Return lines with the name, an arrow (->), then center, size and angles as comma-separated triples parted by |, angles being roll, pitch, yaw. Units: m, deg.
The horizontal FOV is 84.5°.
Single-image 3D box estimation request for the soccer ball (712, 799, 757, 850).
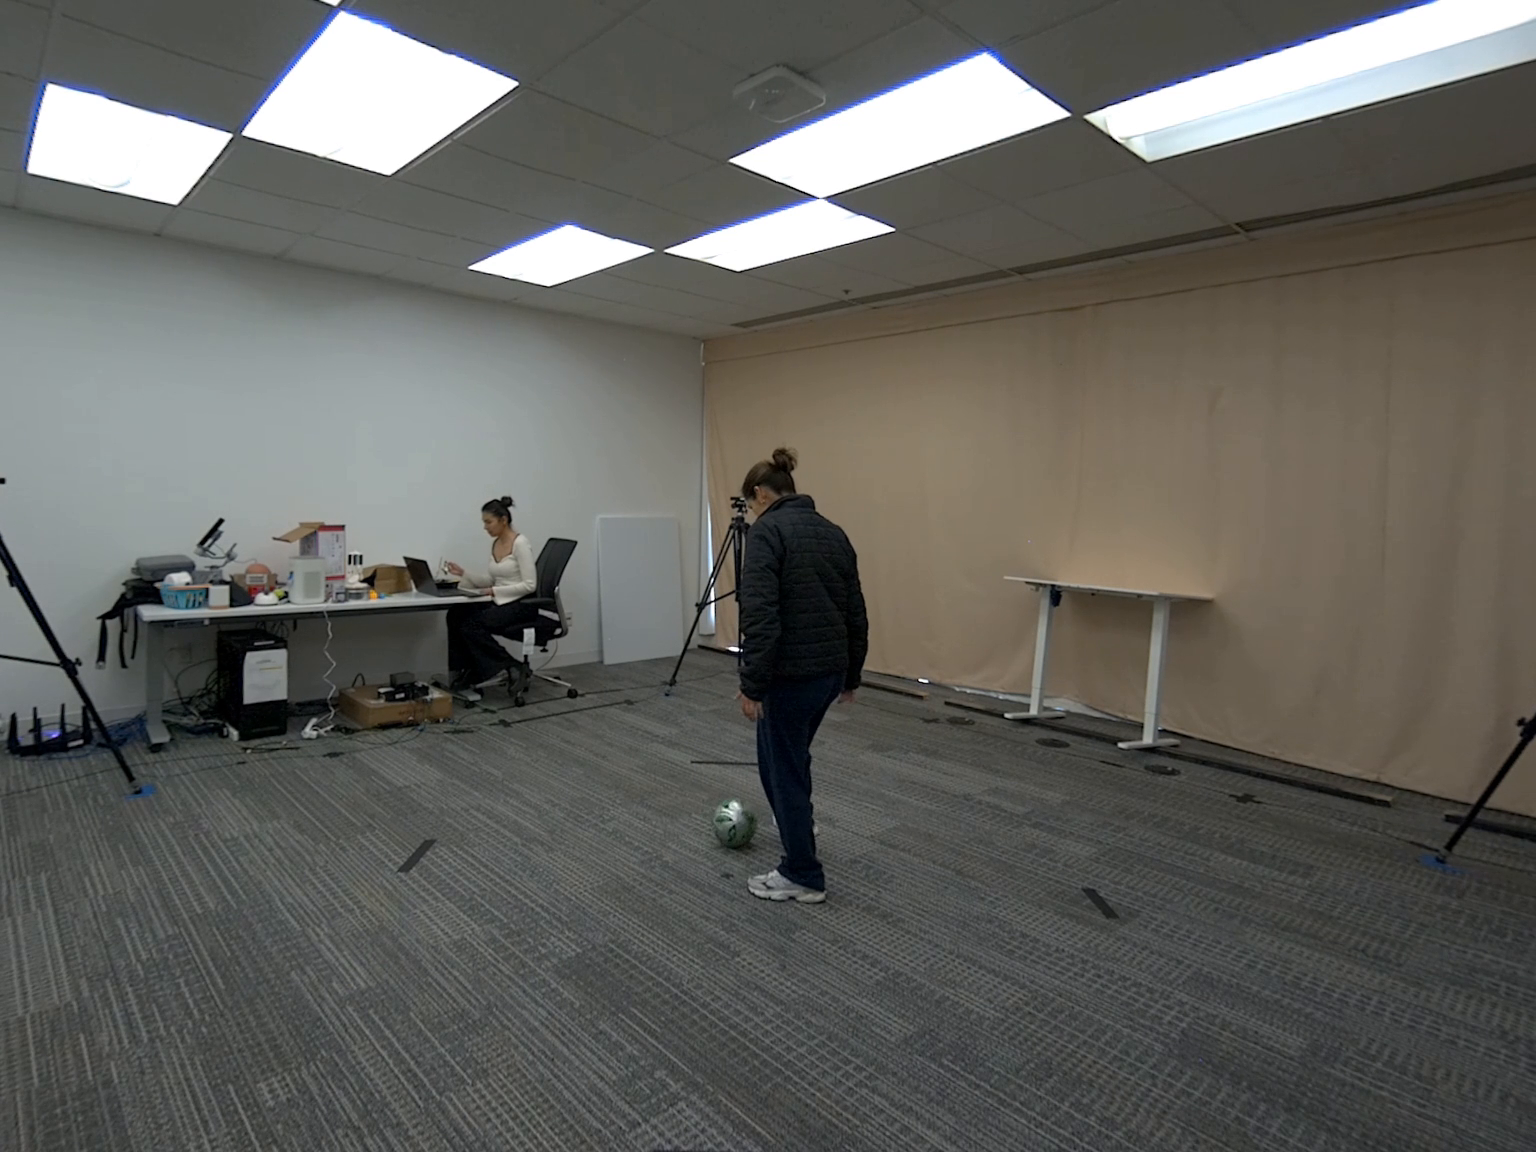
soccer ball -> -0.140, 0.984, 3.373 | 0.187, 0.187, 0.188 | 1, 4, -1
